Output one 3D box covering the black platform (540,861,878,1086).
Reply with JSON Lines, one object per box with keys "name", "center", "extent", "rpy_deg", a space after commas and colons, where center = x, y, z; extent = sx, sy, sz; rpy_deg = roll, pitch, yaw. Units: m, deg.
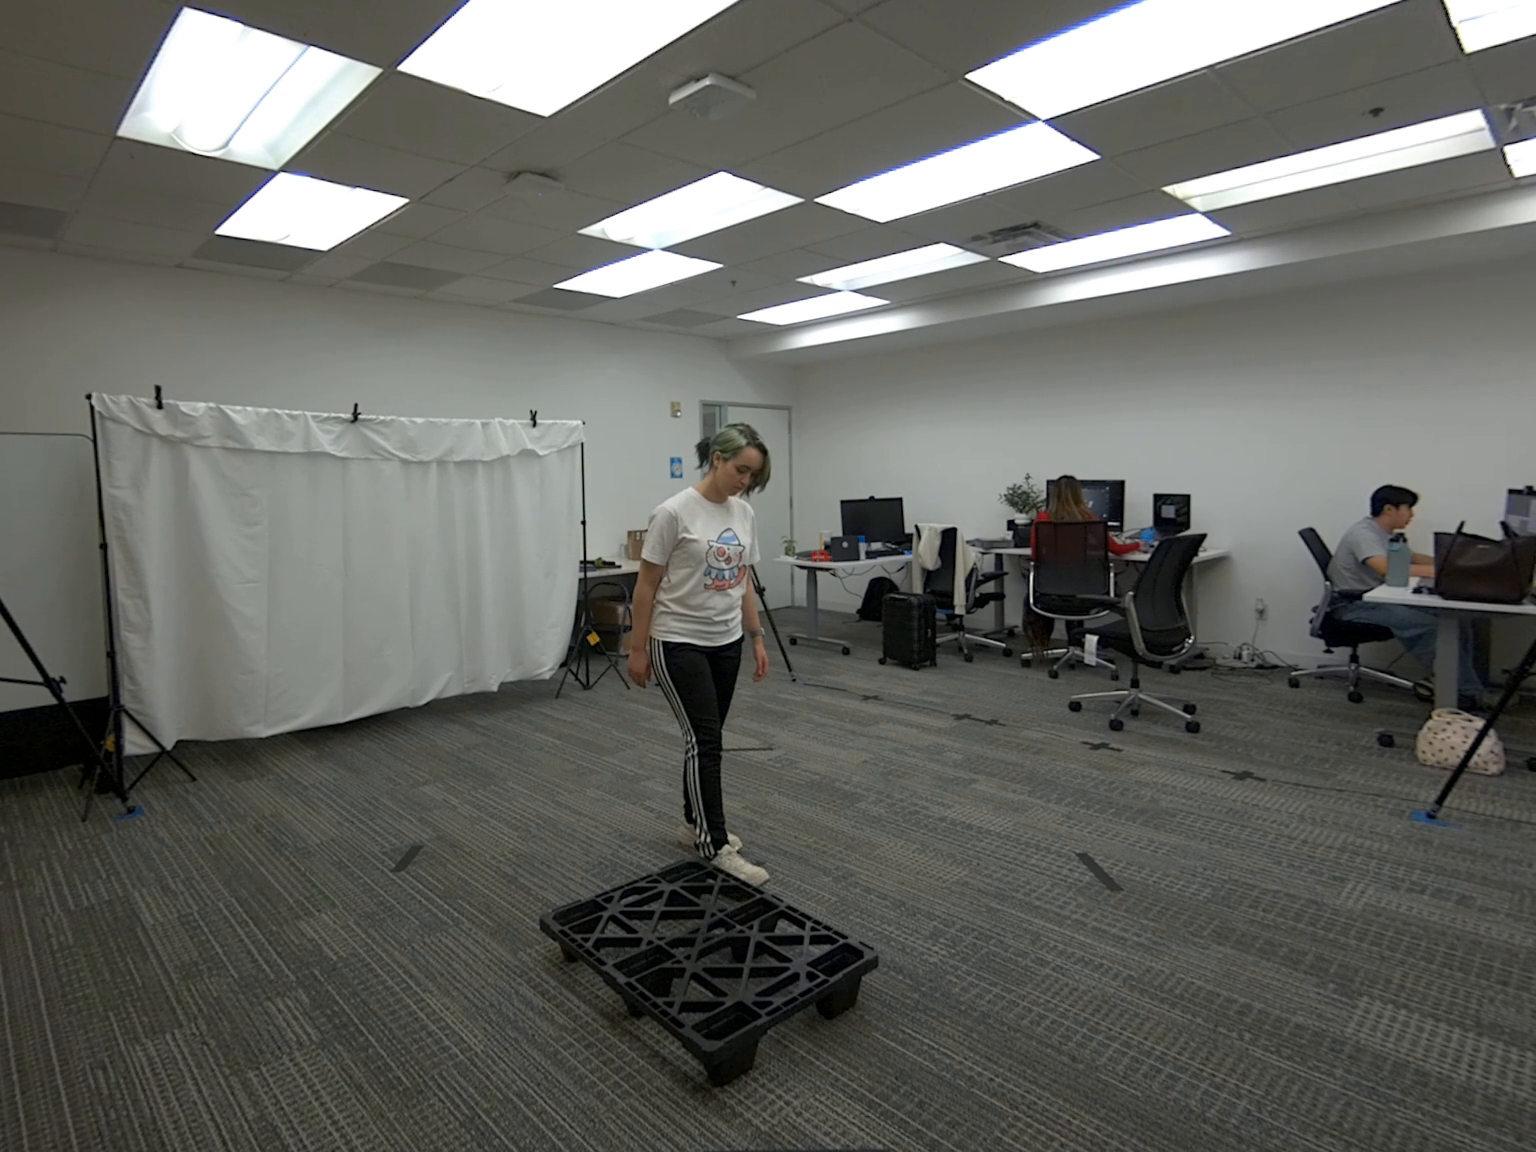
{"name": "black platform", "center": [-0.181, 1.066, 2.400], "extent": [0.589, 0.142, 0.831], "rpy_deg": [-7, 9, -41]}
